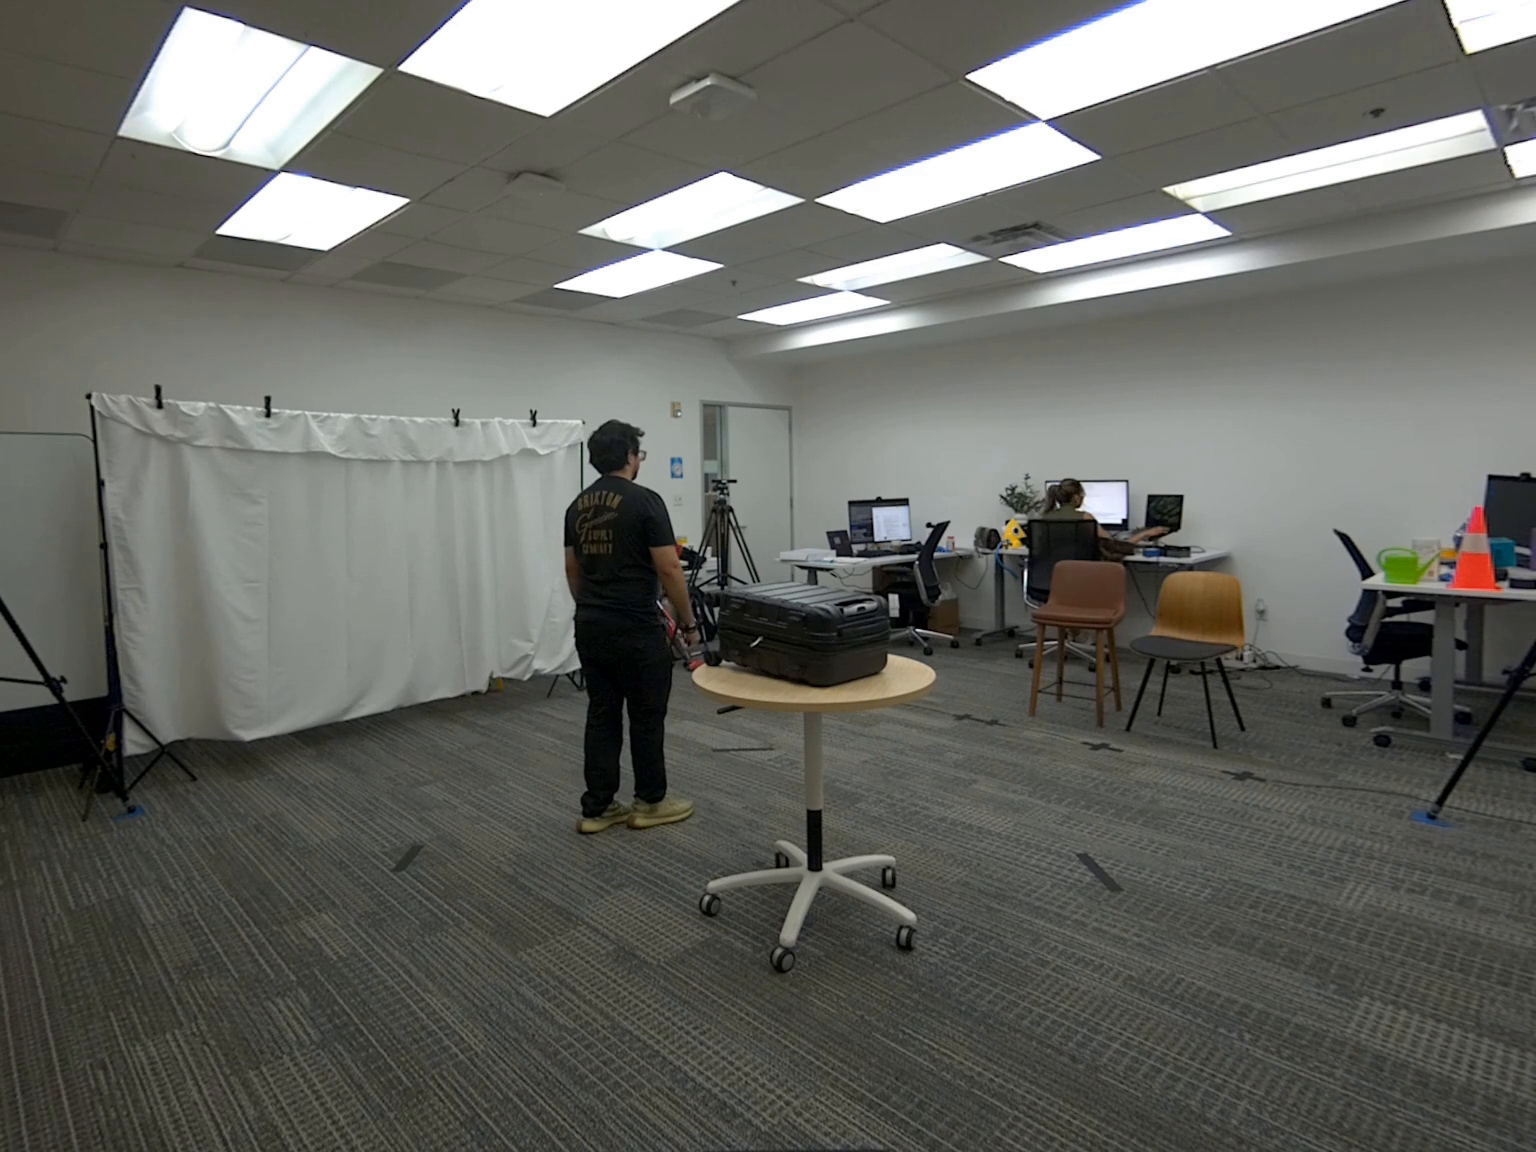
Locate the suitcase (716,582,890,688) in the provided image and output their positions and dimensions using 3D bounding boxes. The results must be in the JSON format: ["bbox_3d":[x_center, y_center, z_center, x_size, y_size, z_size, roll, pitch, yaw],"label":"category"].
[{"bbox_3d":[0.105,0.177,2.755,0.365,0.247,0.567,-5,8,-42],"label":"suitcase"}]
